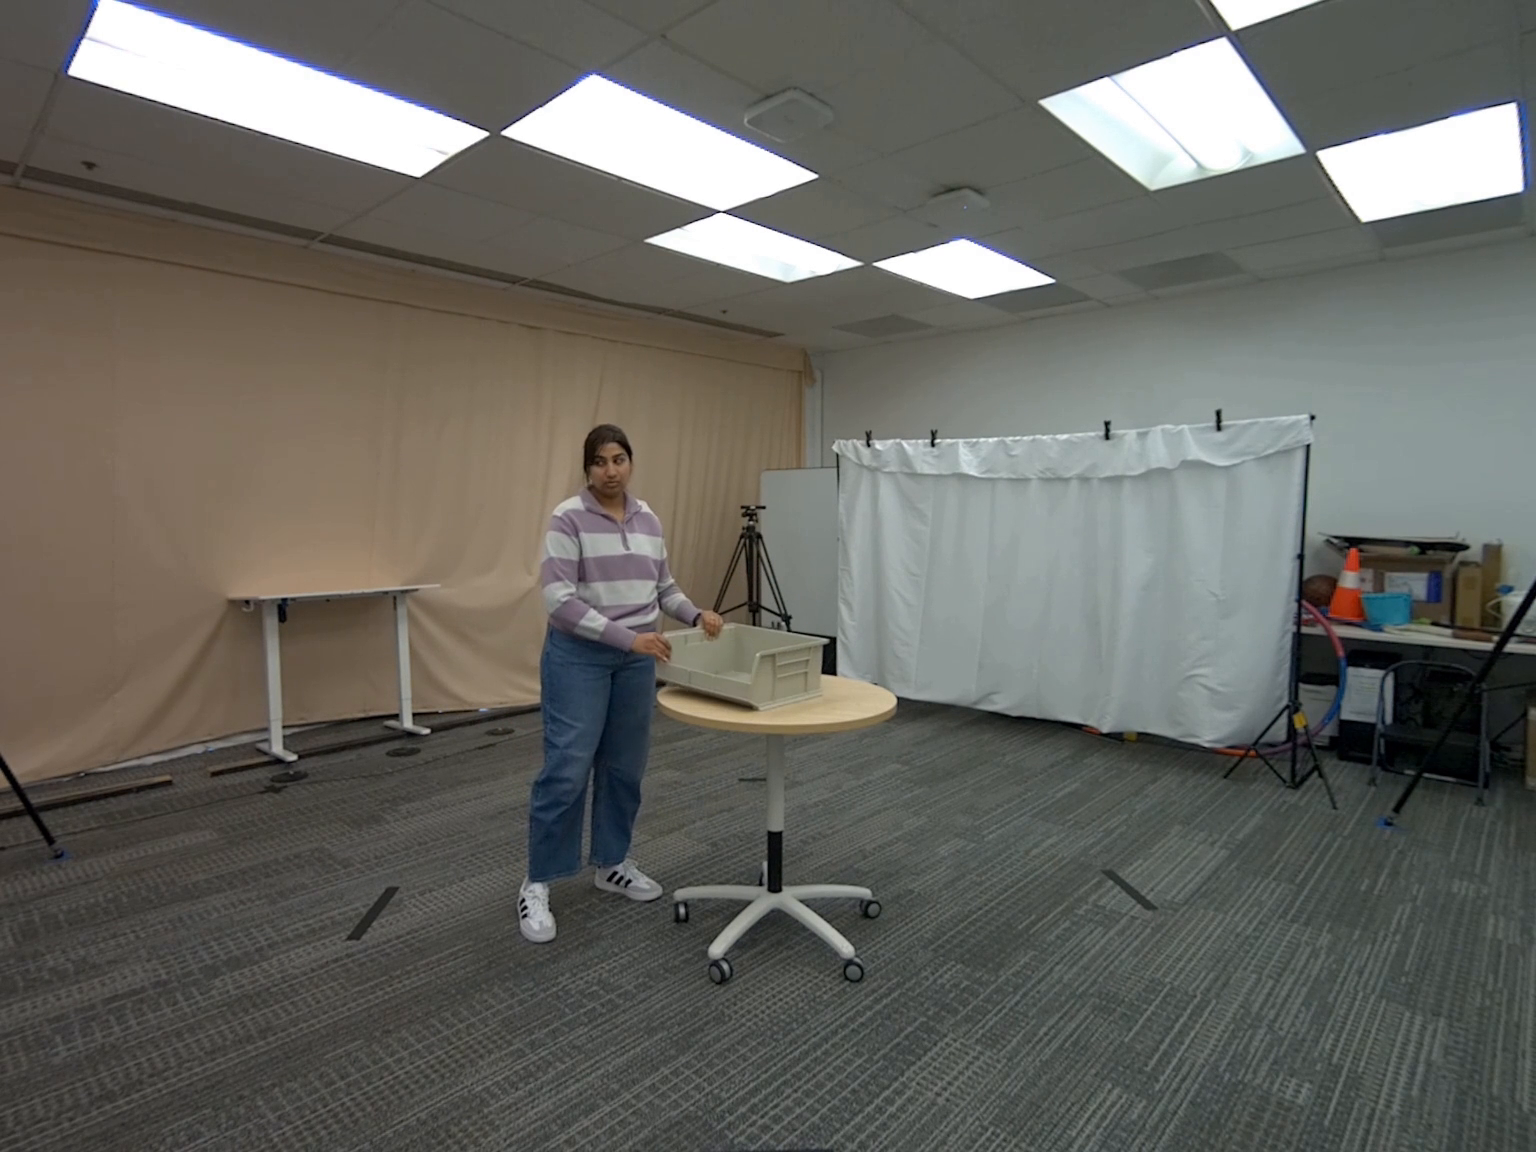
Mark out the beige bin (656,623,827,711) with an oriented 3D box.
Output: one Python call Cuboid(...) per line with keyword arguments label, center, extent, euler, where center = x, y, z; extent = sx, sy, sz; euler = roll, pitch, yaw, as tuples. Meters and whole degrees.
Cuboid(label="beige bin", center=(-0.087, 0.284, 2.716), extent=(0.437, 0.188, 0.365), euler=(6, 5, 42))
